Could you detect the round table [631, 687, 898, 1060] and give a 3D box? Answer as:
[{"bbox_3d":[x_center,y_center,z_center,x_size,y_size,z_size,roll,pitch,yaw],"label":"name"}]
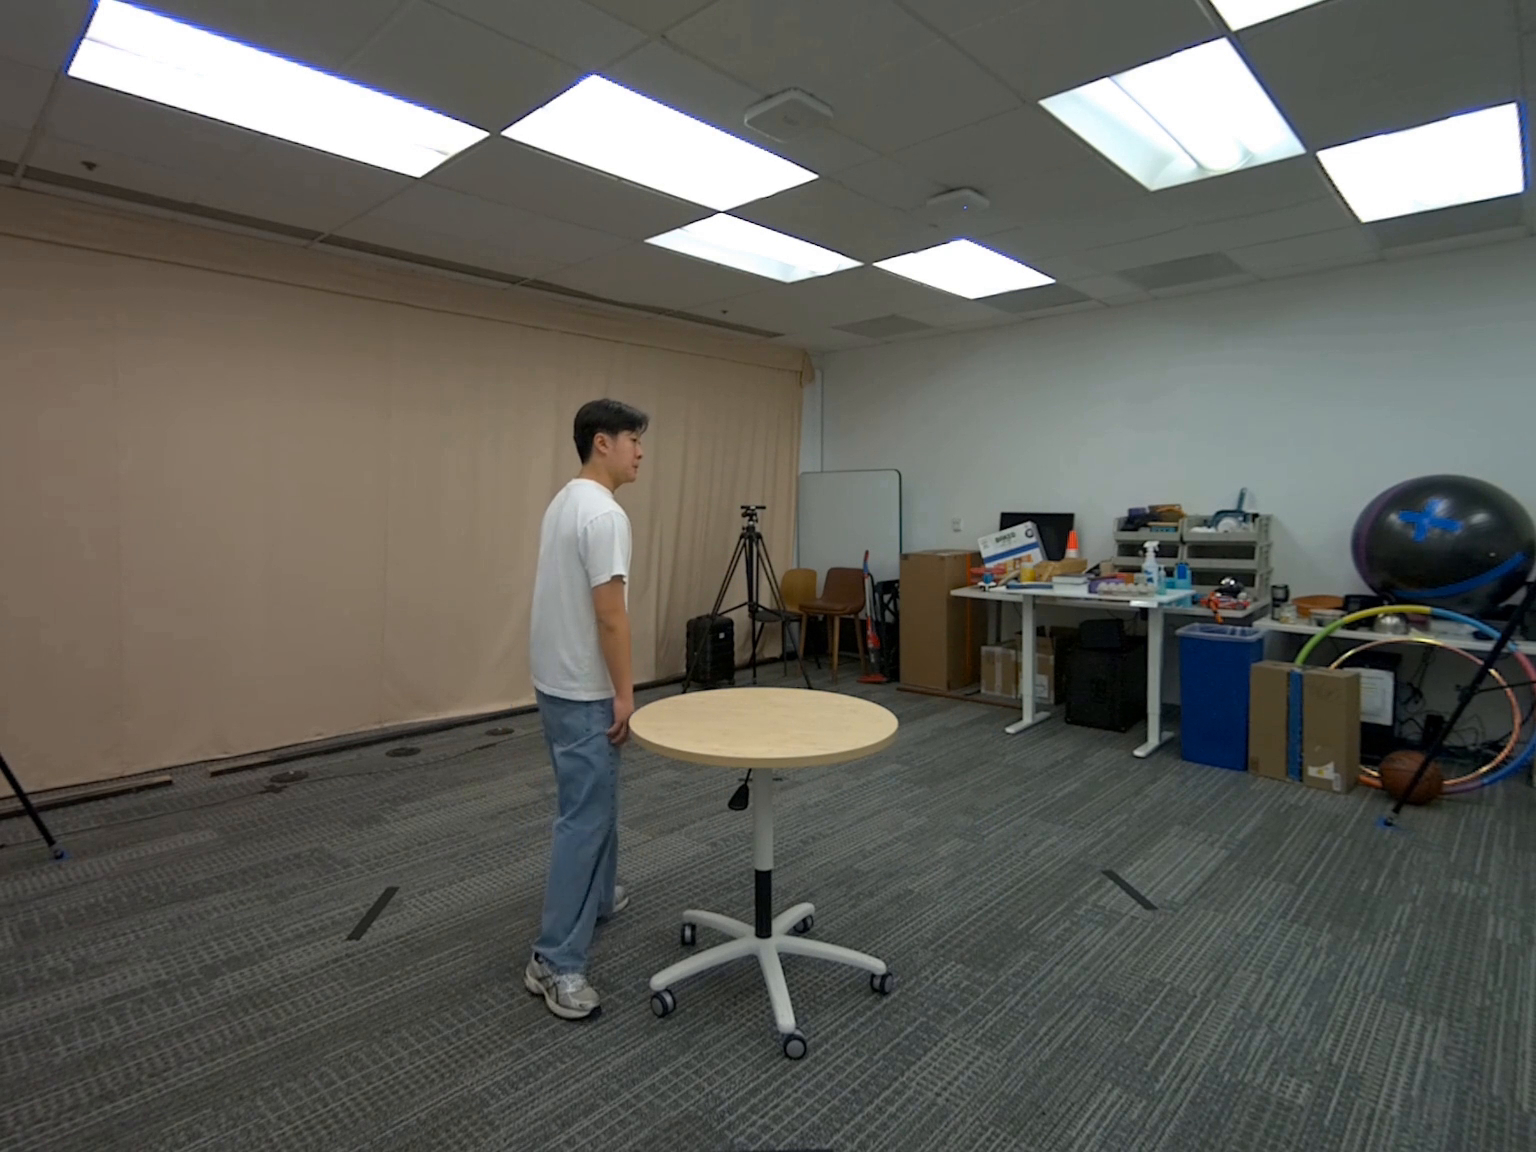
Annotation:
[{"bbox_3d":[-0.019,0.799,2.435,0.784,0.785,0.788,0,4,-2],"label":"round table"}]
